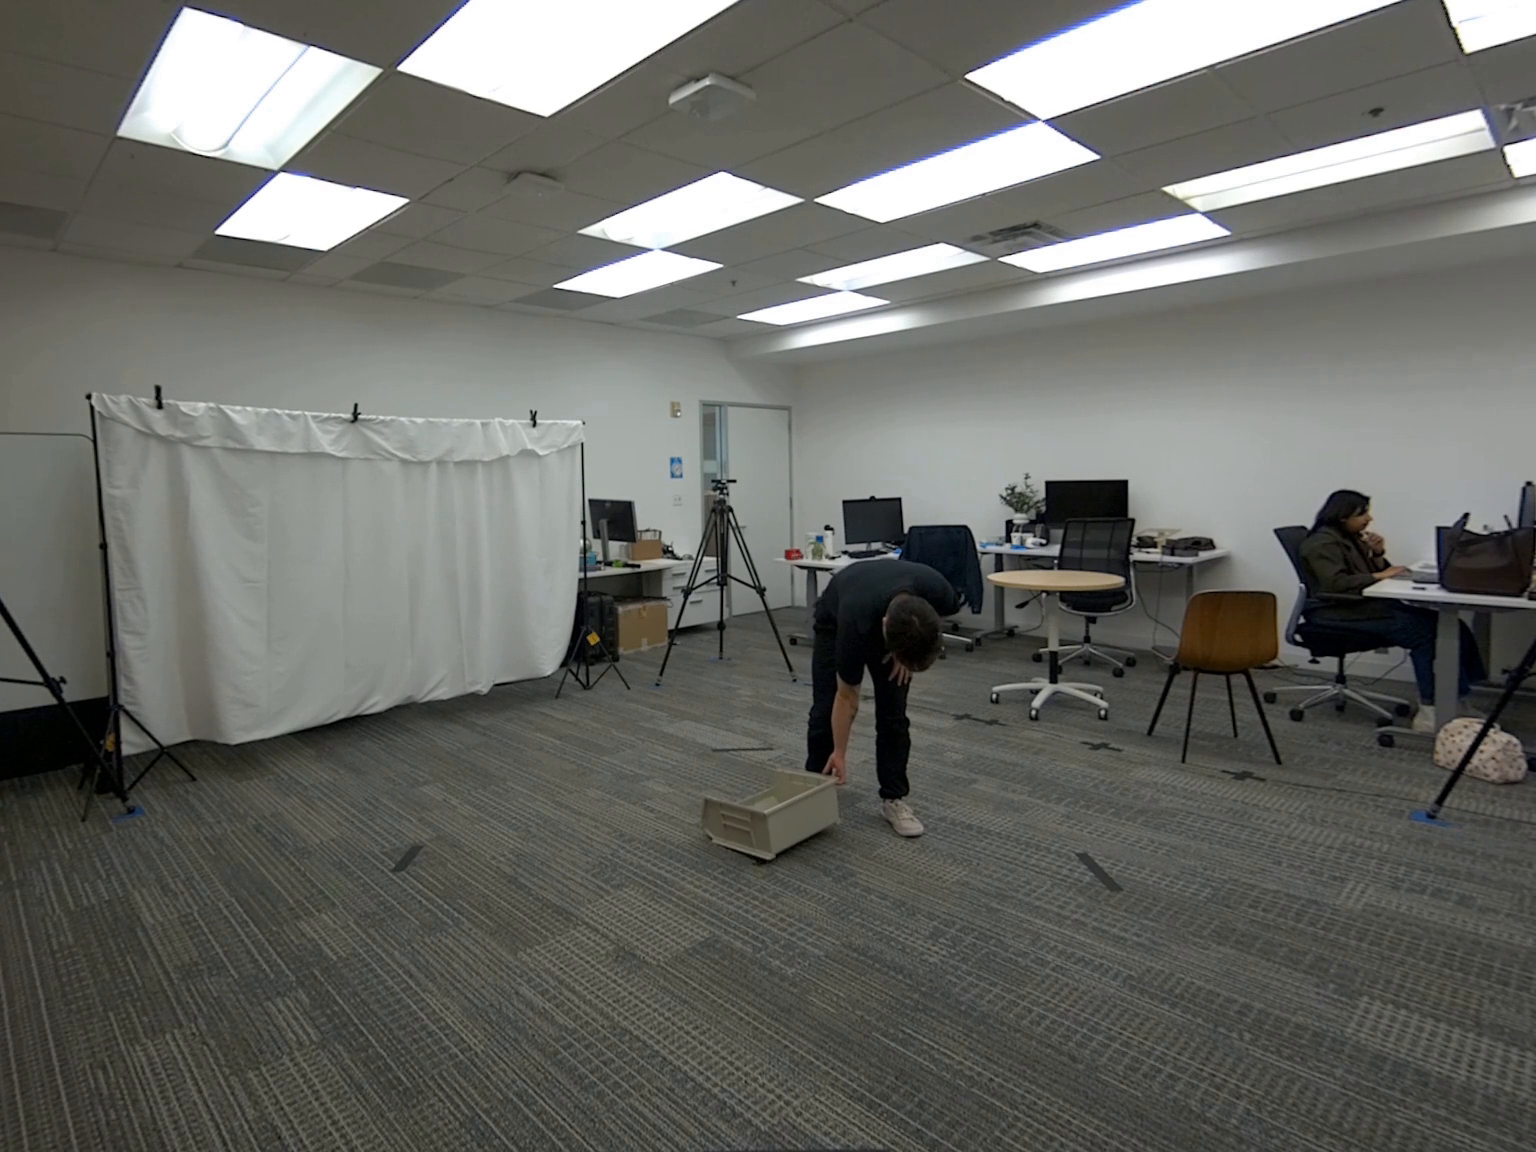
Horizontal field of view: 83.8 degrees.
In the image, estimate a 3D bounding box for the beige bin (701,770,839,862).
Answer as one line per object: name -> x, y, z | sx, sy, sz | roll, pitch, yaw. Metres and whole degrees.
beige bin -> 0.012, 0.911, 3.339 | 0.412, 0.188, 0.388 | -10, 6, -44
